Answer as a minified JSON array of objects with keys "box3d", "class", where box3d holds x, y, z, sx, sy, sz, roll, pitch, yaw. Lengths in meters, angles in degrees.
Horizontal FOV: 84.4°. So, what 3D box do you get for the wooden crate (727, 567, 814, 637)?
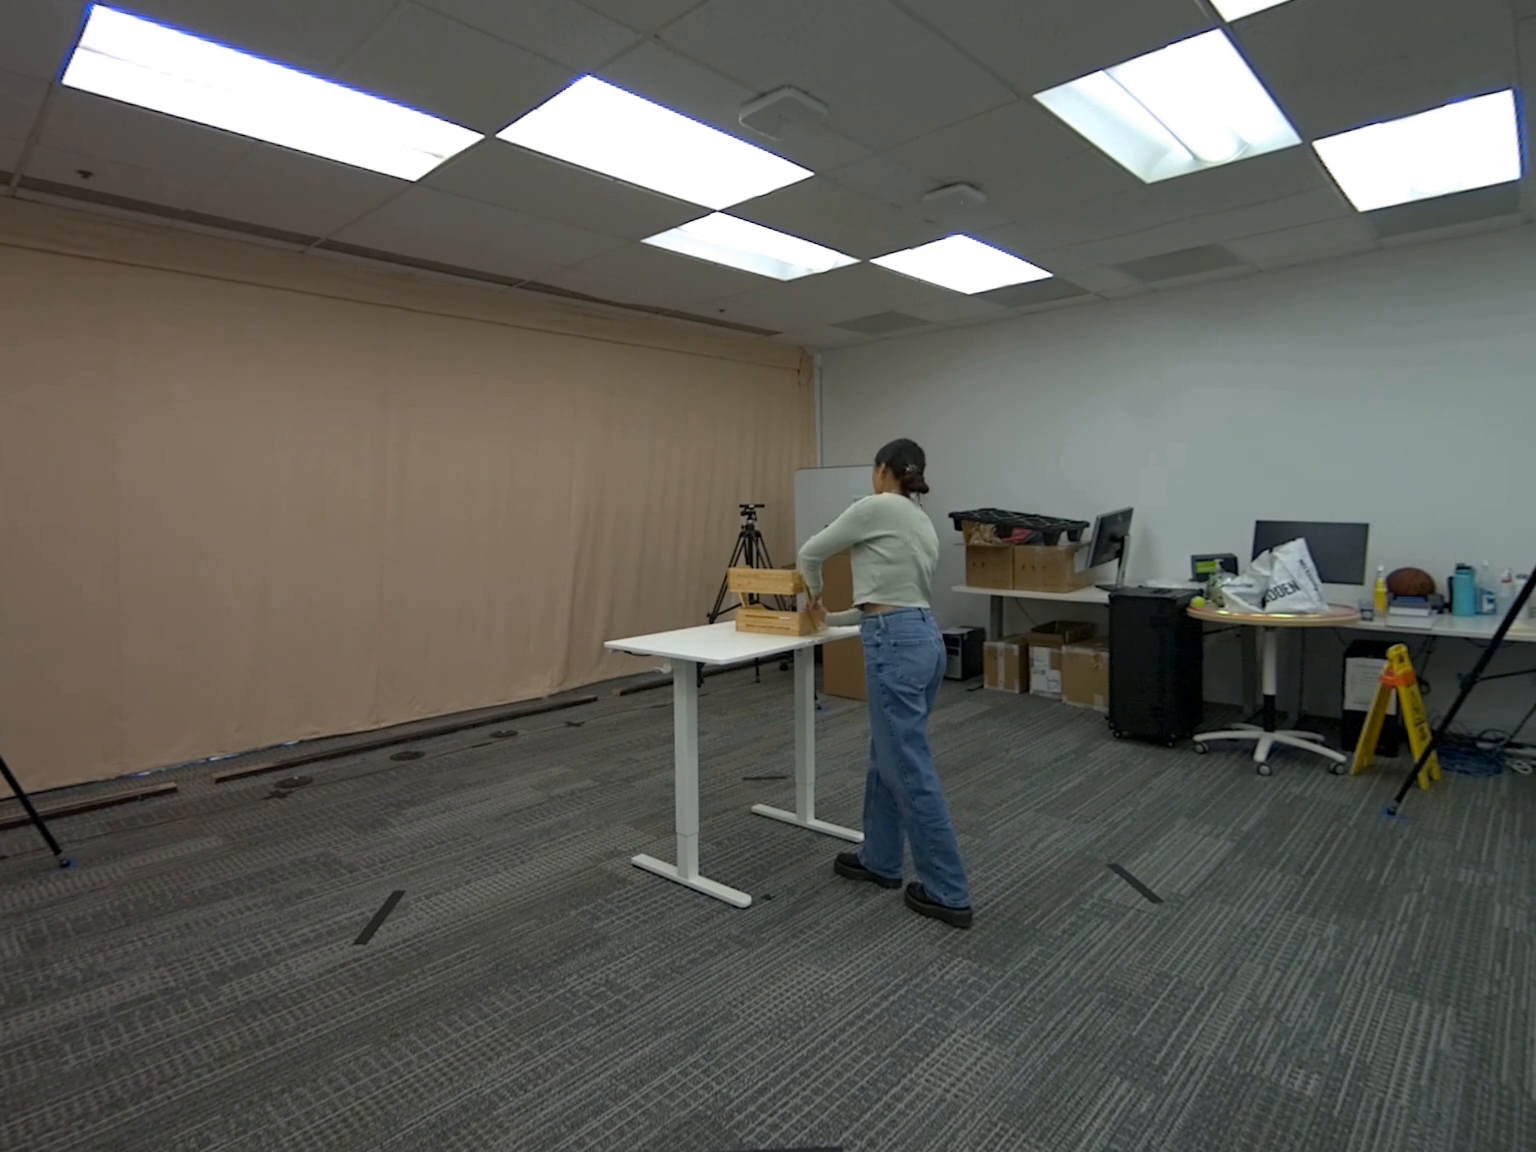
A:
[{"box3d":[0.052,0.090,3.405,0.334,0.273,0.293,1,4,33],"class":"wooden crate"}]
